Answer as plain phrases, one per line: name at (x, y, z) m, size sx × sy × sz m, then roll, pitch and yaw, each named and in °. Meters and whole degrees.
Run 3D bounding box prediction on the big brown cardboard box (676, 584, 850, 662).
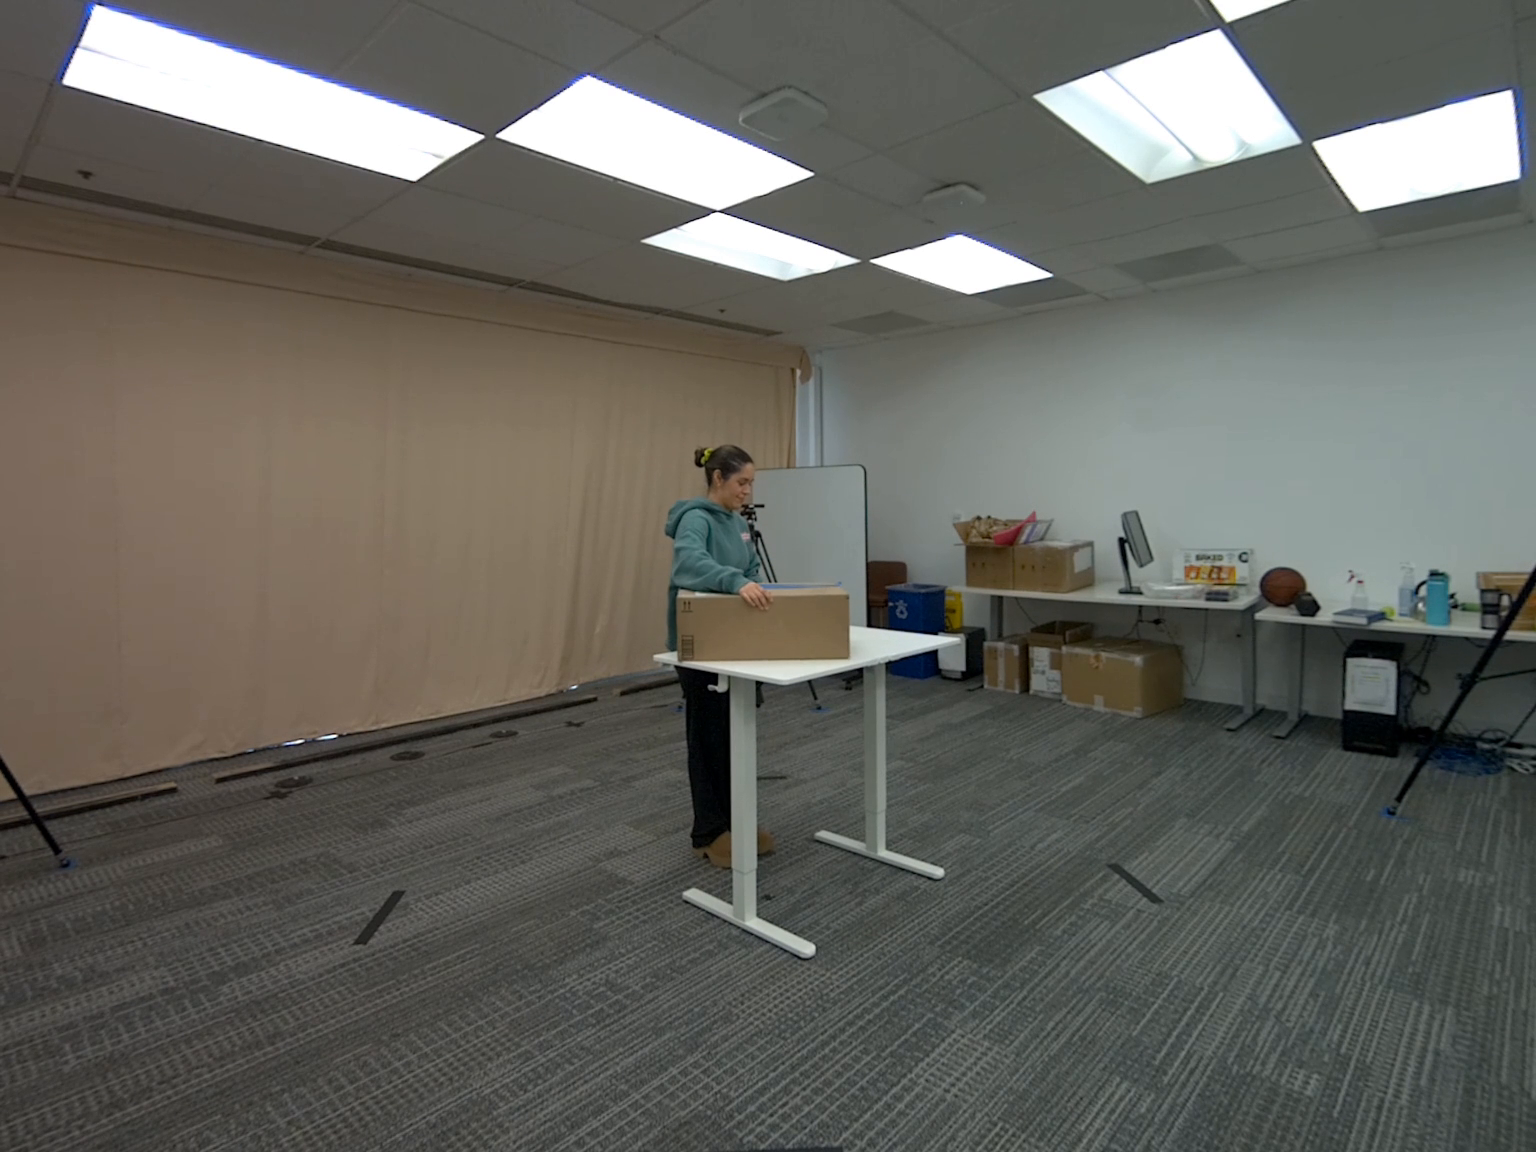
big brown cardboard box at (-0.022, 0.151, 2.952) m, size 0.588 × 0.232 × 0.419 m, roll 0°, pitch 5°, yaw -2°
